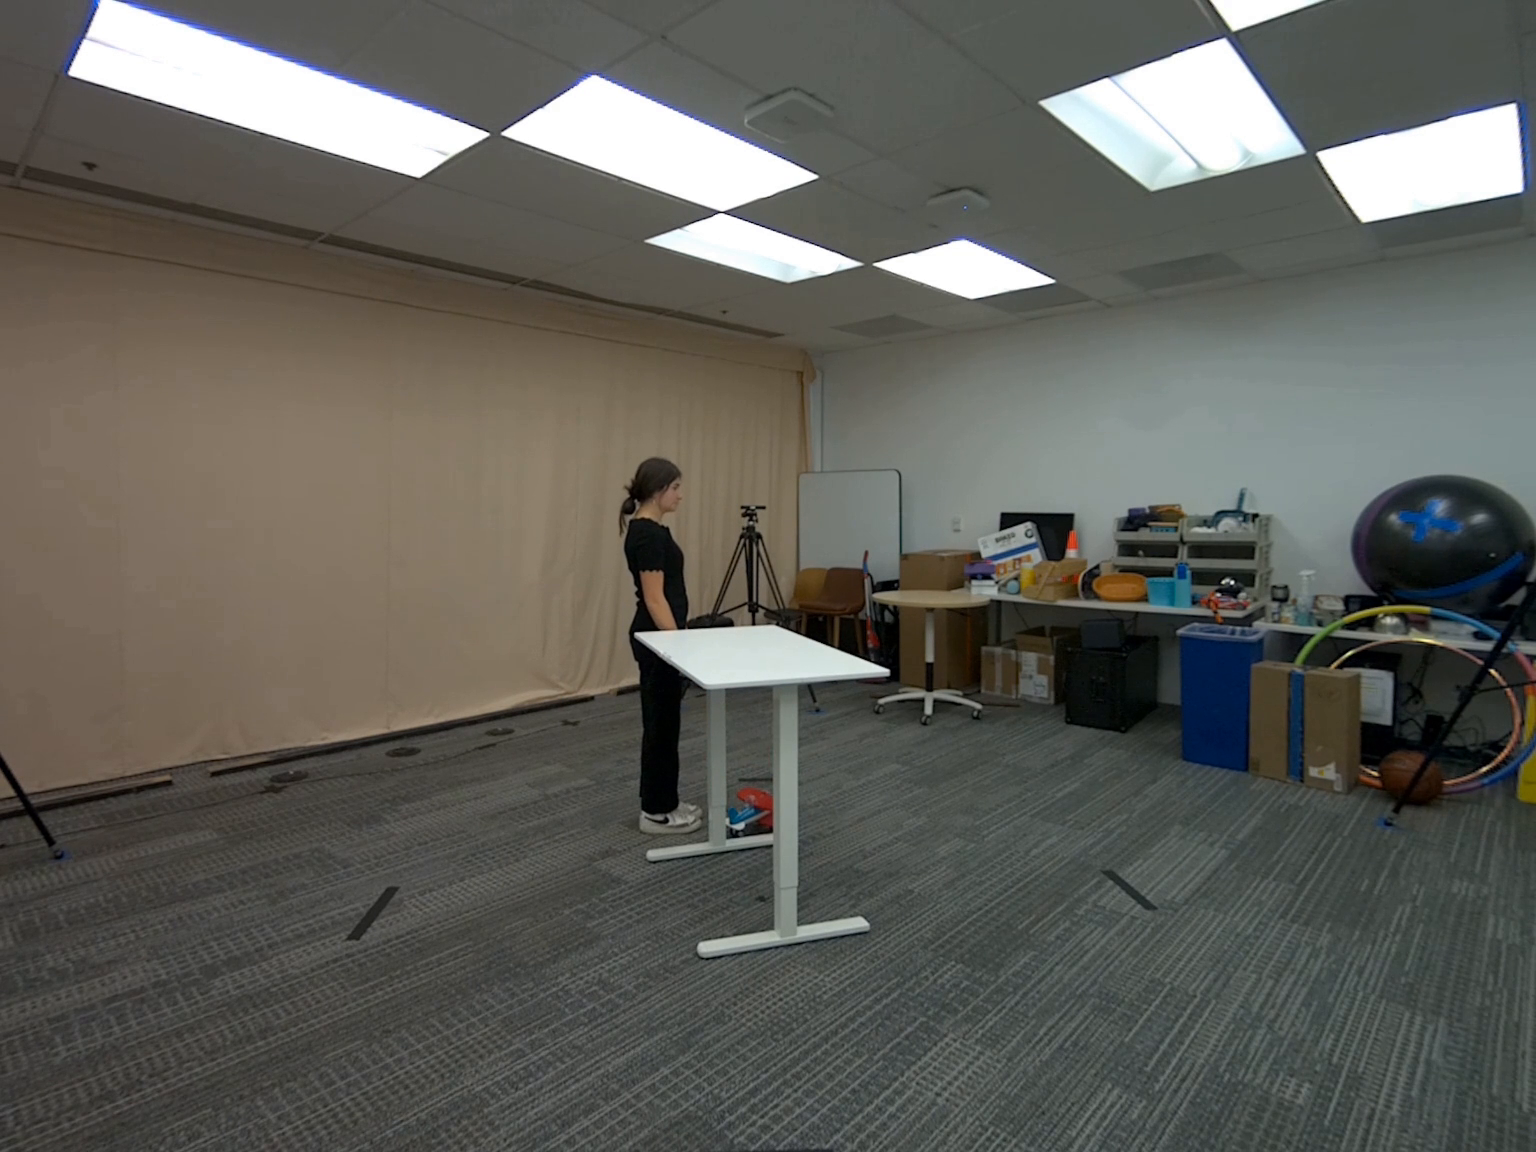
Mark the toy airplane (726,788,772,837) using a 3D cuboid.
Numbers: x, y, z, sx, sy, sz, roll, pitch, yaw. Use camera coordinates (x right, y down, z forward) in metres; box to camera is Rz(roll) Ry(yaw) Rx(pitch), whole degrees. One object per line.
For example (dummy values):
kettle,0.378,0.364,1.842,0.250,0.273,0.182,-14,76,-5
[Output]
toy airplane,-0.048,1.020,3.577,0.257,0.156,0.253,2,3,24
